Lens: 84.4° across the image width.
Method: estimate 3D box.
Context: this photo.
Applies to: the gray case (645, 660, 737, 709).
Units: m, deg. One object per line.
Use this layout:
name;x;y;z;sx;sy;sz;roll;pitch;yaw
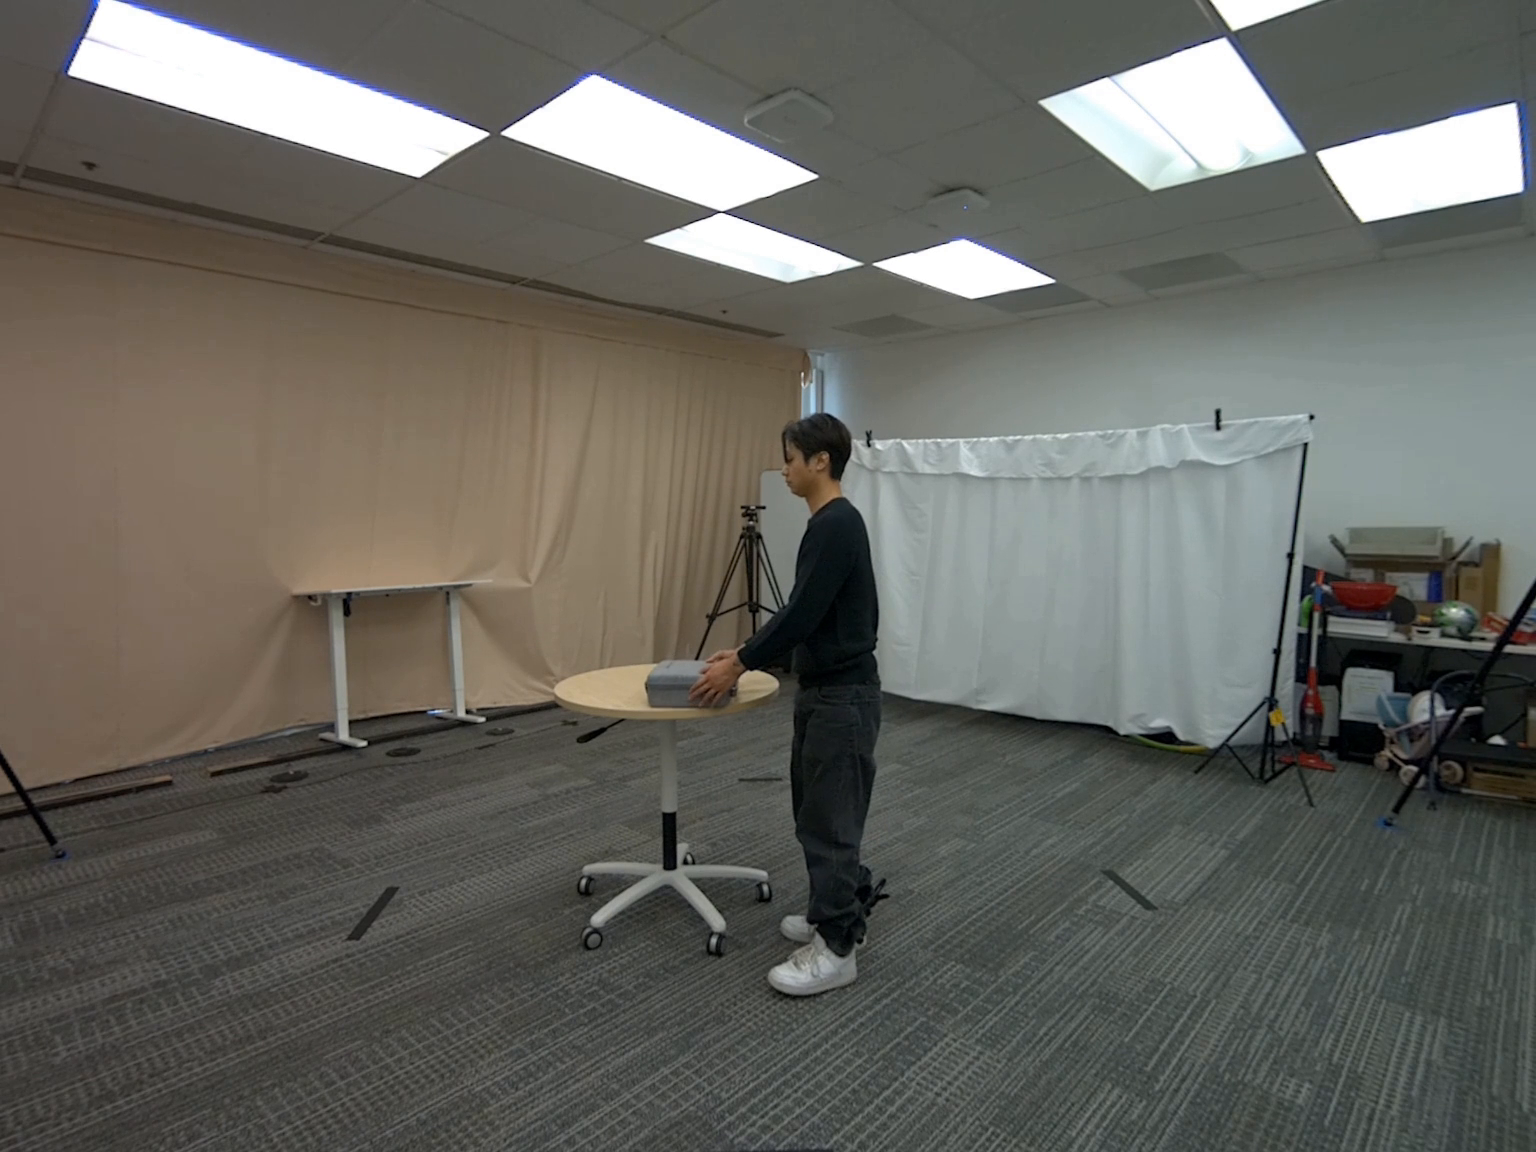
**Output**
gray case;-0.238;0.339;2.659;0.262;0.104;0.255;0;3;6
